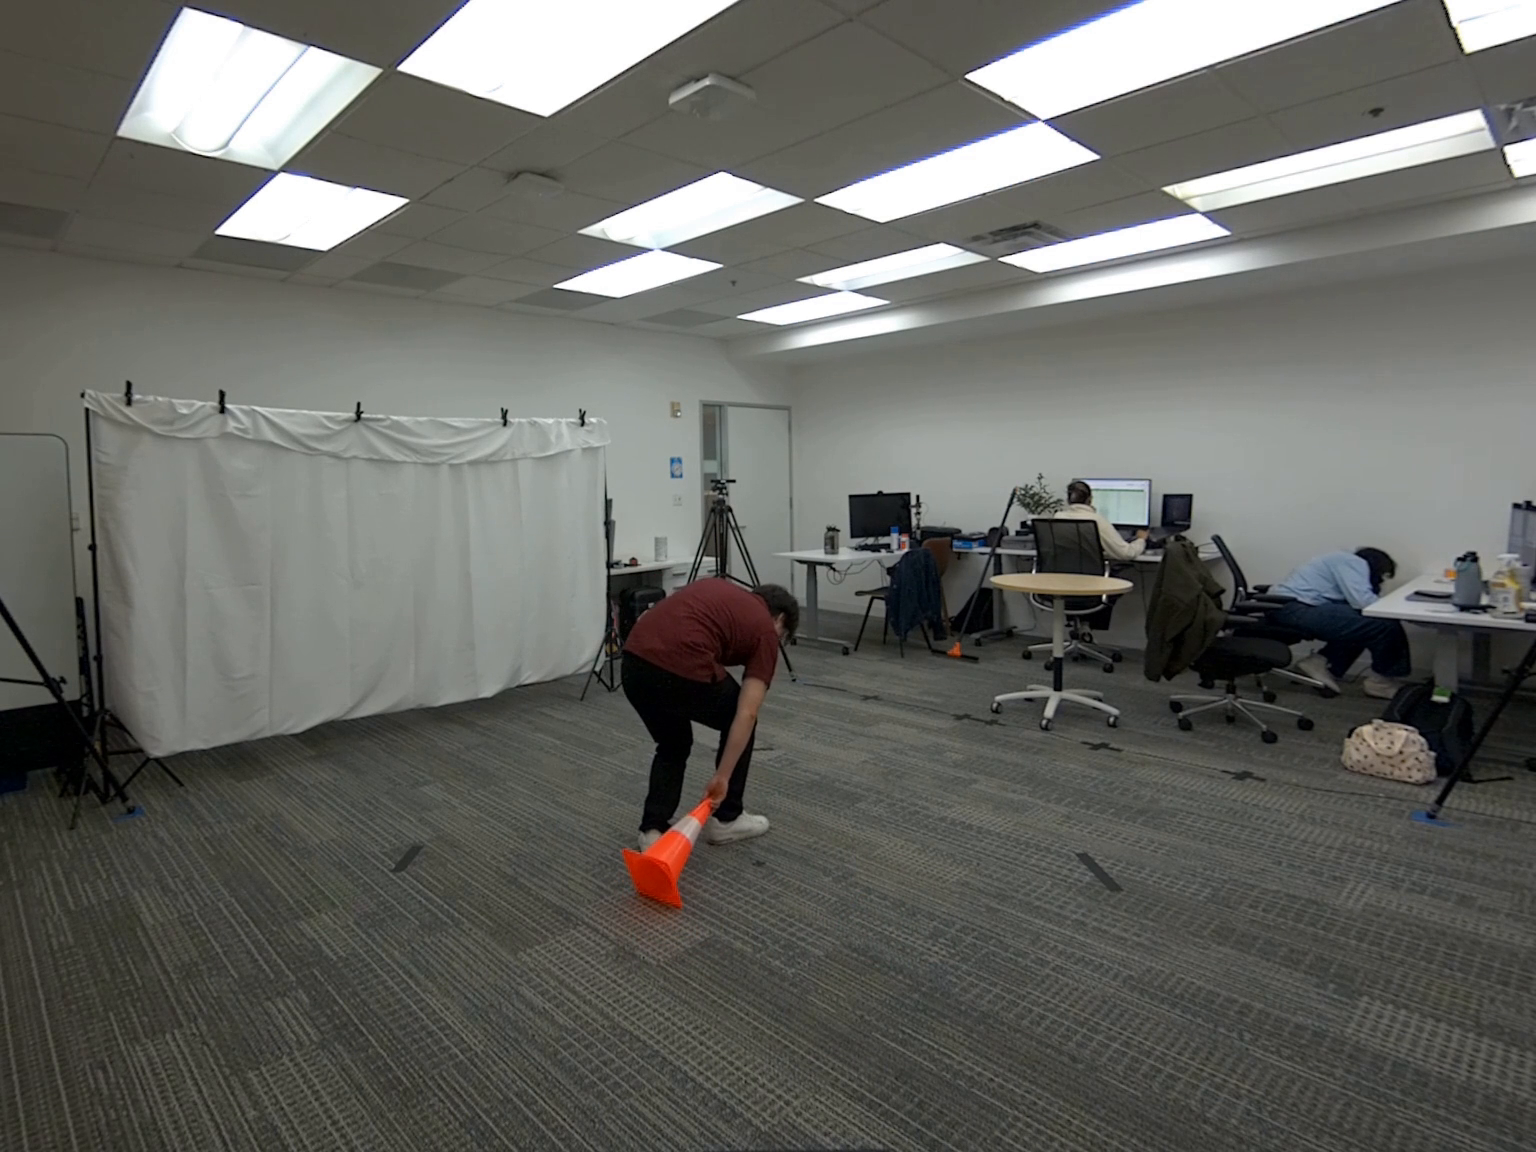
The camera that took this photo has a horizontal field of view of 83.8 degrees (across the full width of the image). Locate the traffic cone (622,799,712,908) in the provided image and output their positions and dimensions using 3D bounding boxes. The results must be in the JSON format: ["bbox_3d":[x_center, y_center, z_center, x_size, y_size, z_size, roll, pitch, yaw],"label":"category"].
[{"bbox_3d":[-0.301,0.910,2.958,0.210,0.199,0.383,-3,26,30],"label":"traffic cone"}]
